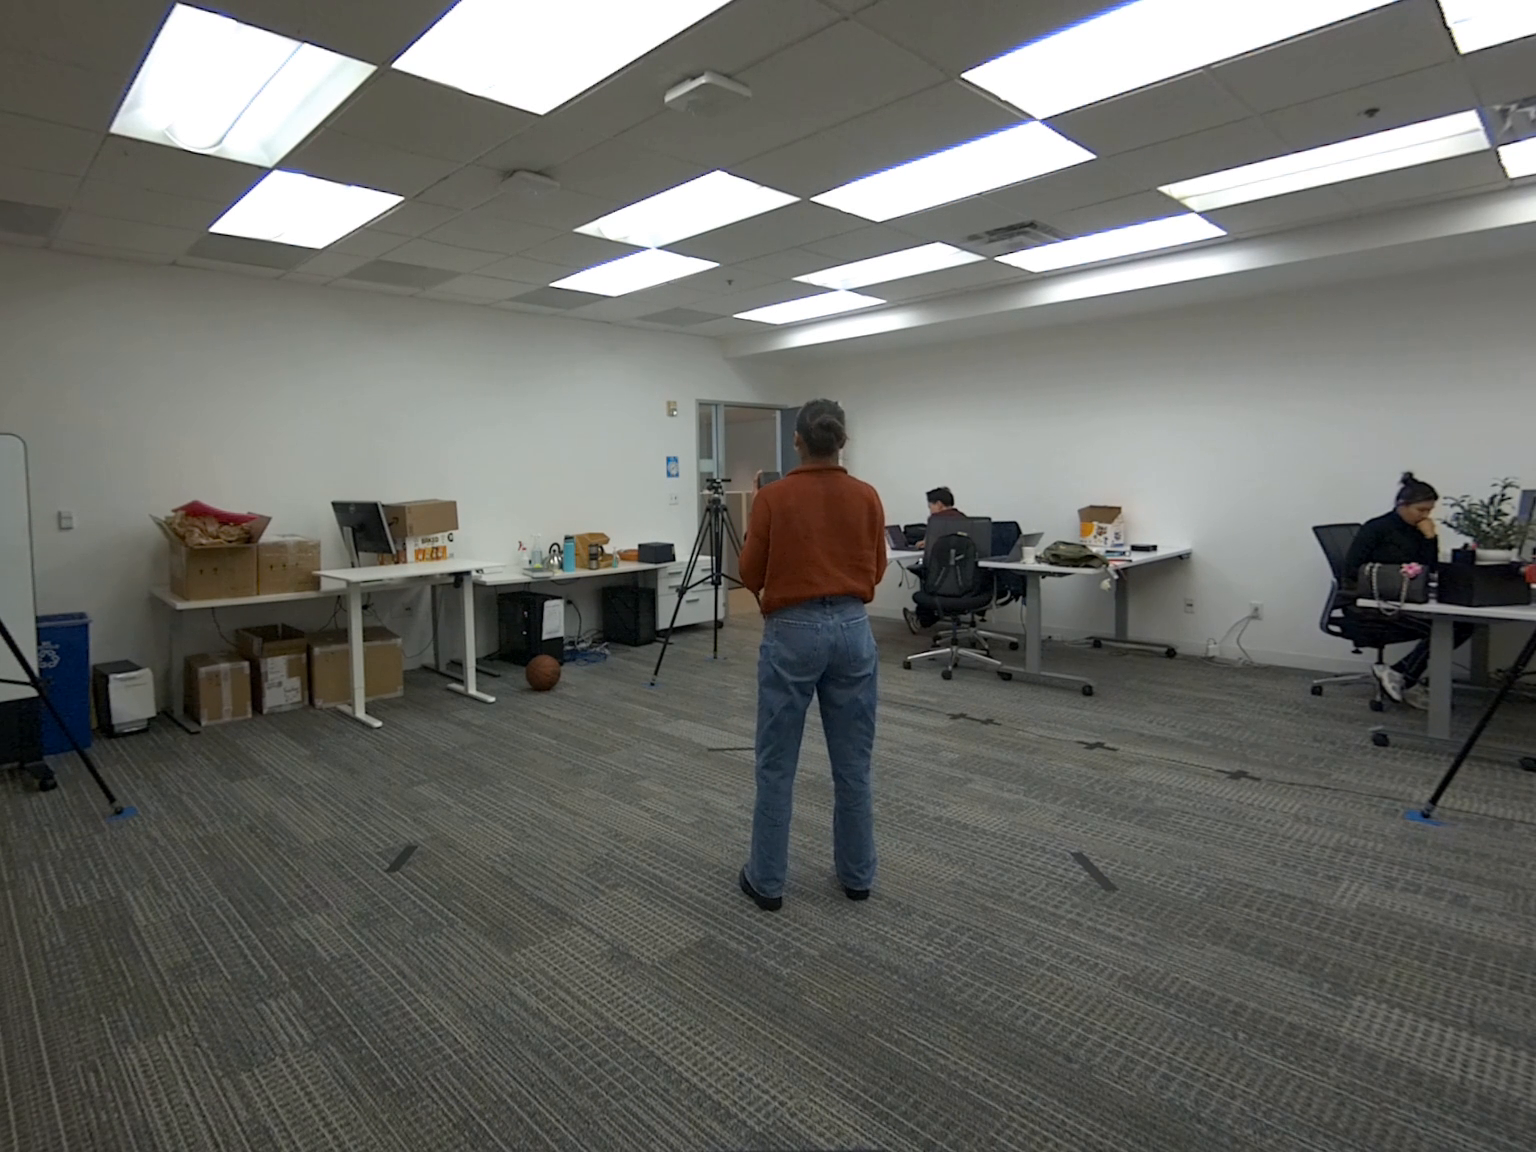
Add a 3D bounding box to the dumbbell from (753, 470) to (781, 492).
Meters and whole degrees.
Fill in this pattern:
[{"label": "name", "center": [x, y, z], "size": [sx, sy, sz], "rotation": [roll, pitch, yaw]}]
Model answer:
[{"label": "dumbbell", "center": [0.125, -0.302, 2.942], "size": [0.290, 0.121, 0.112], "rotation": [5, 29, -11]}]
